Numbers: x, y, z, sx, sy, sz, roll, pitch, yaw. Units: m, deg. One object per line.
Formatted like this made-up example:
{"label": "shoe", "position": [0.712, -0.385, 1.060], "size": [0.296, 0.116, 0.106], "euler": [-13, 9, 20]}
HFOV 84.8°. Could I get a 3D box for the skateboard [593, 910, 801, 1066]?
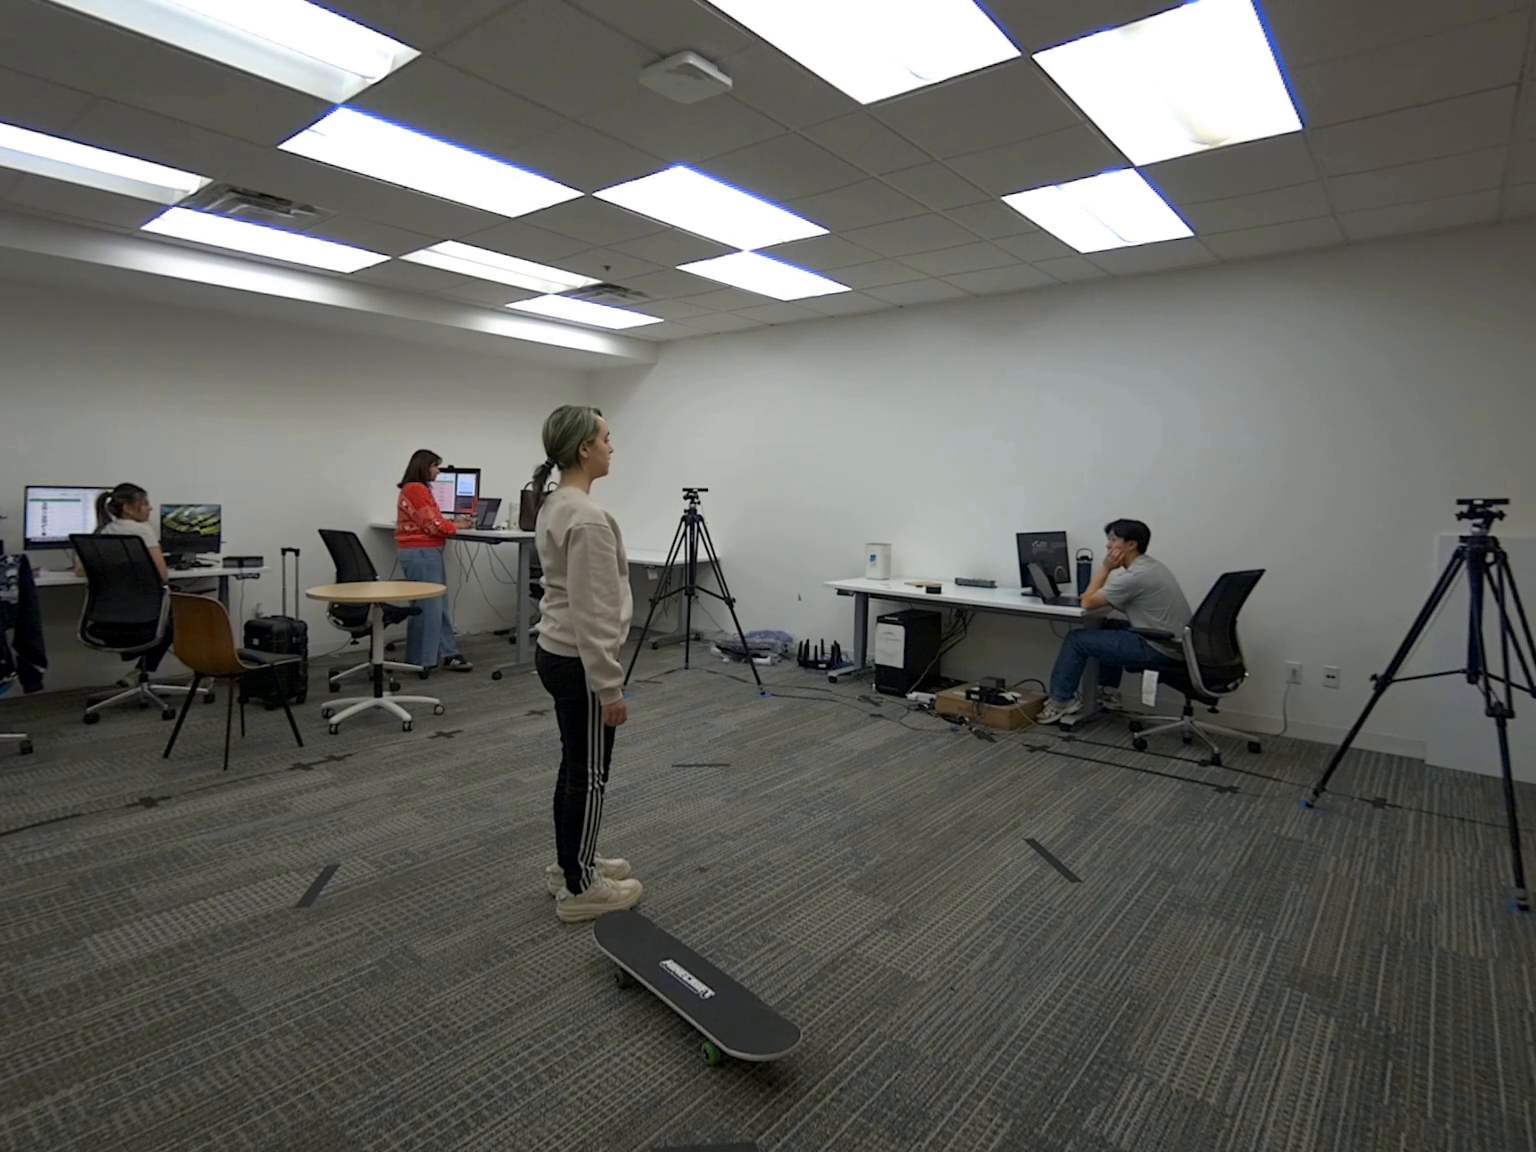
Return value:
{"label": "skateboard", "position": [-0.223, 1.100, 2.256], "size": [0.188, 0.110, 0.813], "euler": [-4, 8, -41]}
